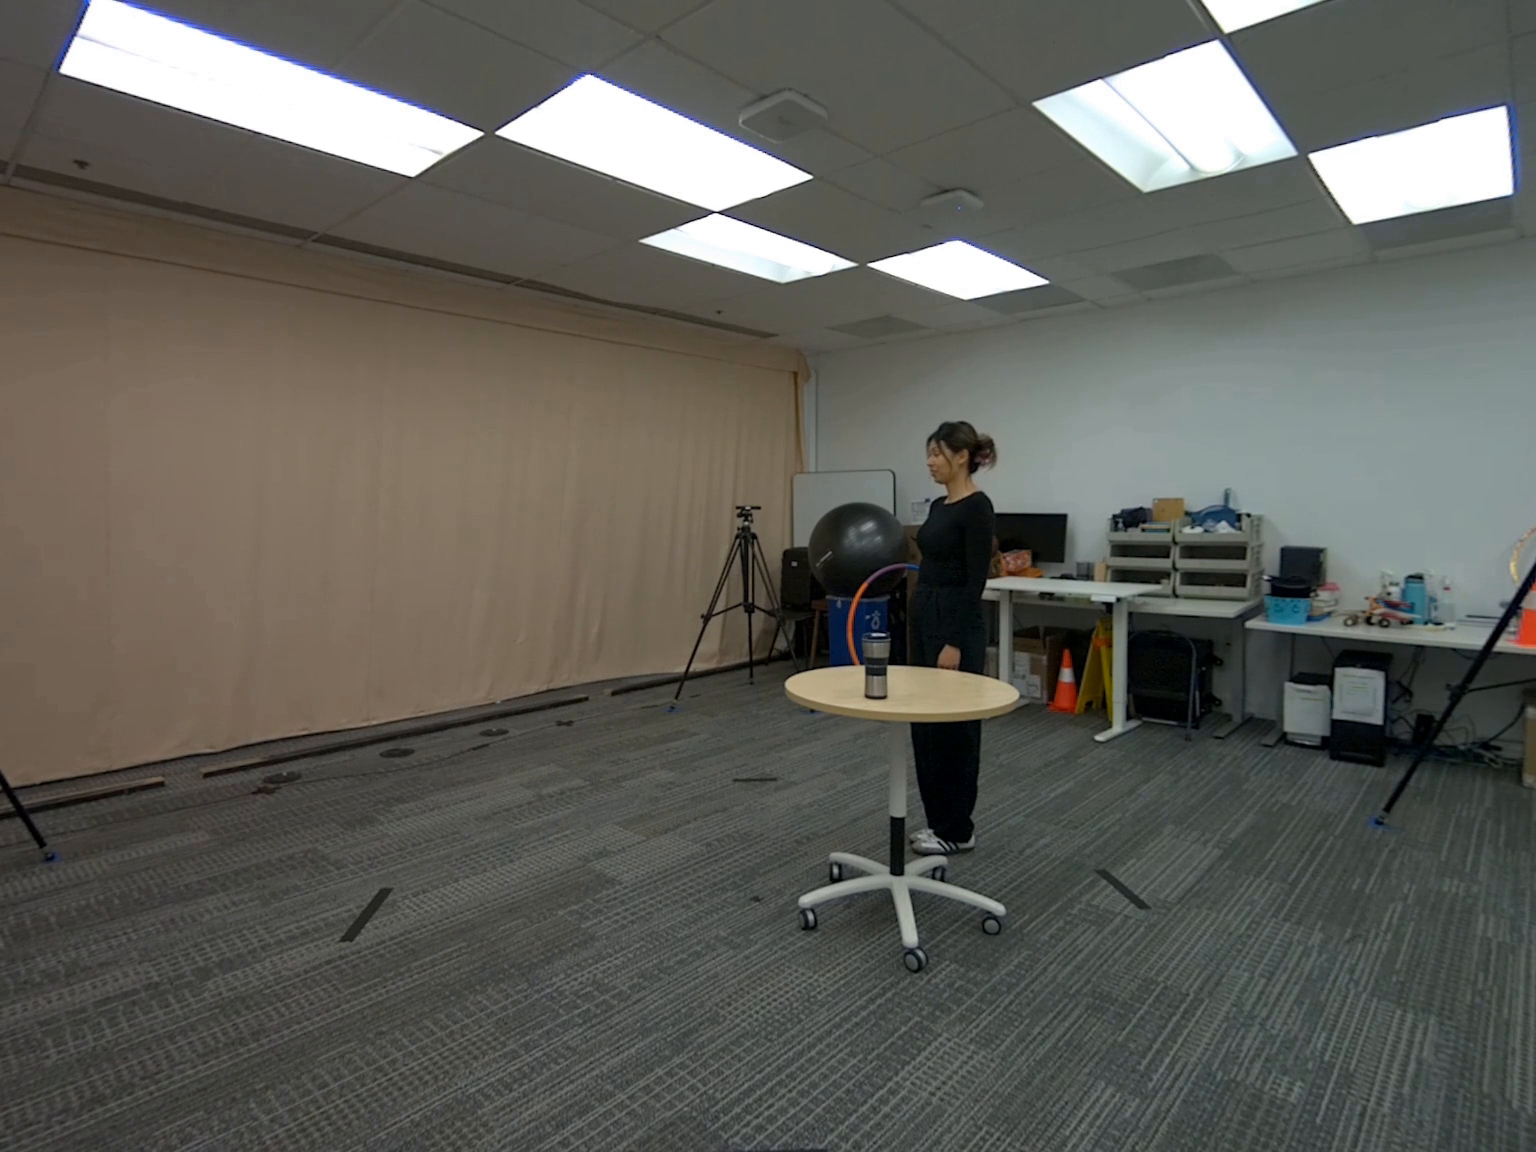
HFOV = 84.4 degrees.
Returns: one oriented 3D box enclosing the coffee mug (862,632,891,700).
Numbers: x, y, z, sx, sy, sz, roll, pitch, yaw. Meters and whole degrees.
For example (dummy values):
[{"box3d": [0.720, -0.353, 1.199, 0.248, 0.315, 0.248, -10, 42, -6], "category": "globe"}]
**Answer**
[{"box3d": [0.361, 0.281, 2.670, 0.119, 0.202, 0.090, -5, 3, -33], "category": "coffee mug"}]
